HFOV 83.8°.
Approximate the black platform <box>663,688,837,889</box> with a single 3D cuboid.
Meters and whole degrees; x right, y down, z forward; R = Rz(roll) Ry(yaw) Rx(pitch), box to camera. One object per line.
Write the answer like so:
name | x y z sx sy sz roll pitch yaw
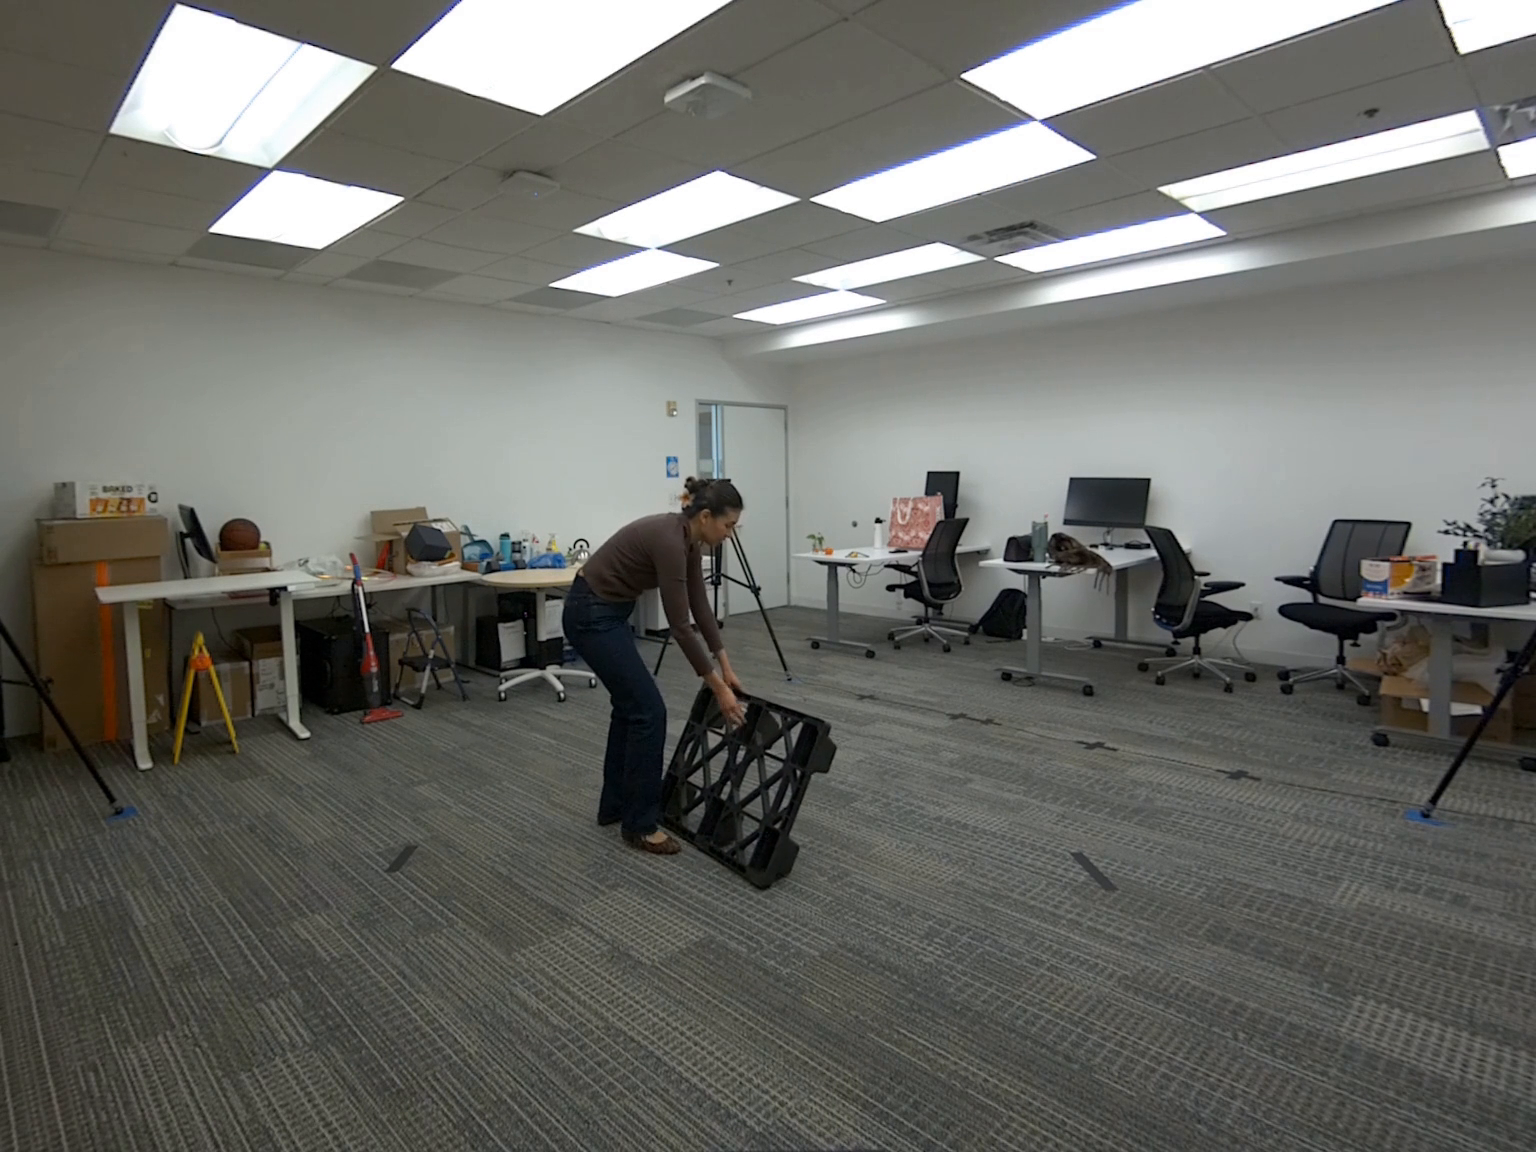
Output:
black platform | -0.098 0.779 3.305 0.138 0.608 0.829 30 -13 -33
